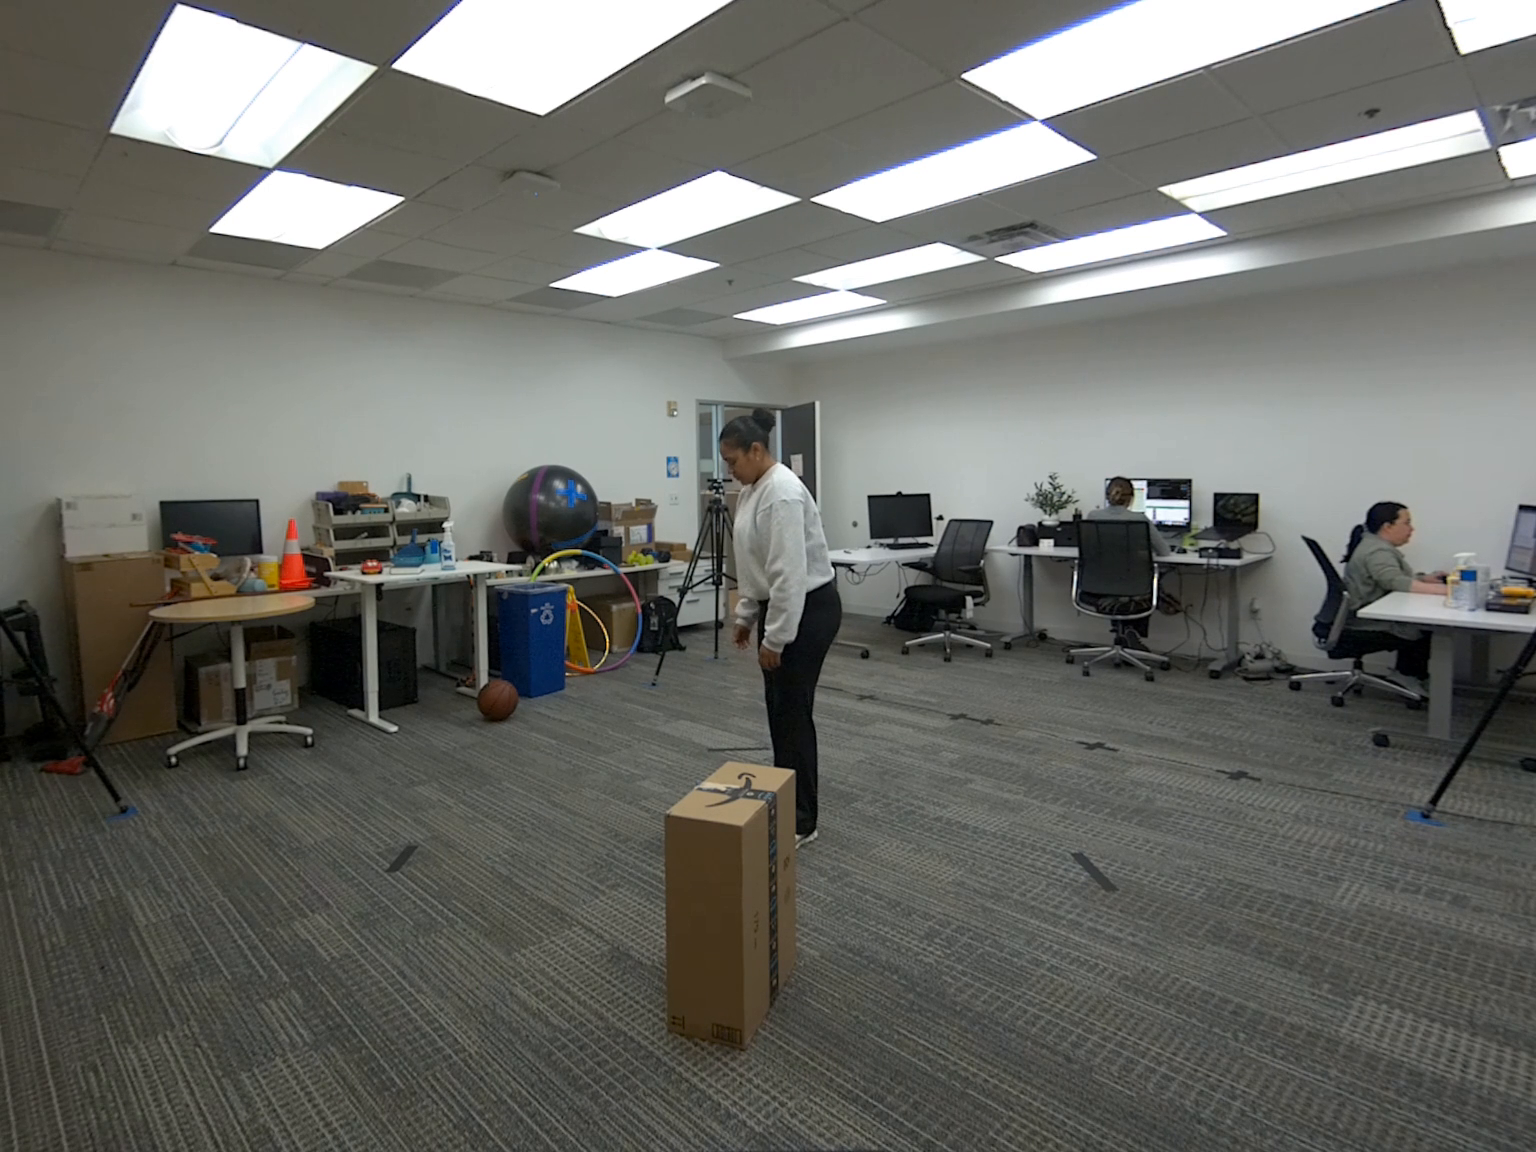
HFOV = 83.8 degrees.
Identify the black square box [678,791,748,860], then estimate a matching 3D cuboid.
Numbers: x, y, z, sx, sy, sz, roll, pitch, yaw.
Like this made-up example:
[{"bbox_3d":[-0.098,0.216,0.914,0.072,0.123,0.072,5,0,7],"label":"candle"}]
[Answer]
[{"bbox_3d":[-0.209,0.942,3.259,0.219,0.155,0.226,2,5,10],"label":"black square box"}]
